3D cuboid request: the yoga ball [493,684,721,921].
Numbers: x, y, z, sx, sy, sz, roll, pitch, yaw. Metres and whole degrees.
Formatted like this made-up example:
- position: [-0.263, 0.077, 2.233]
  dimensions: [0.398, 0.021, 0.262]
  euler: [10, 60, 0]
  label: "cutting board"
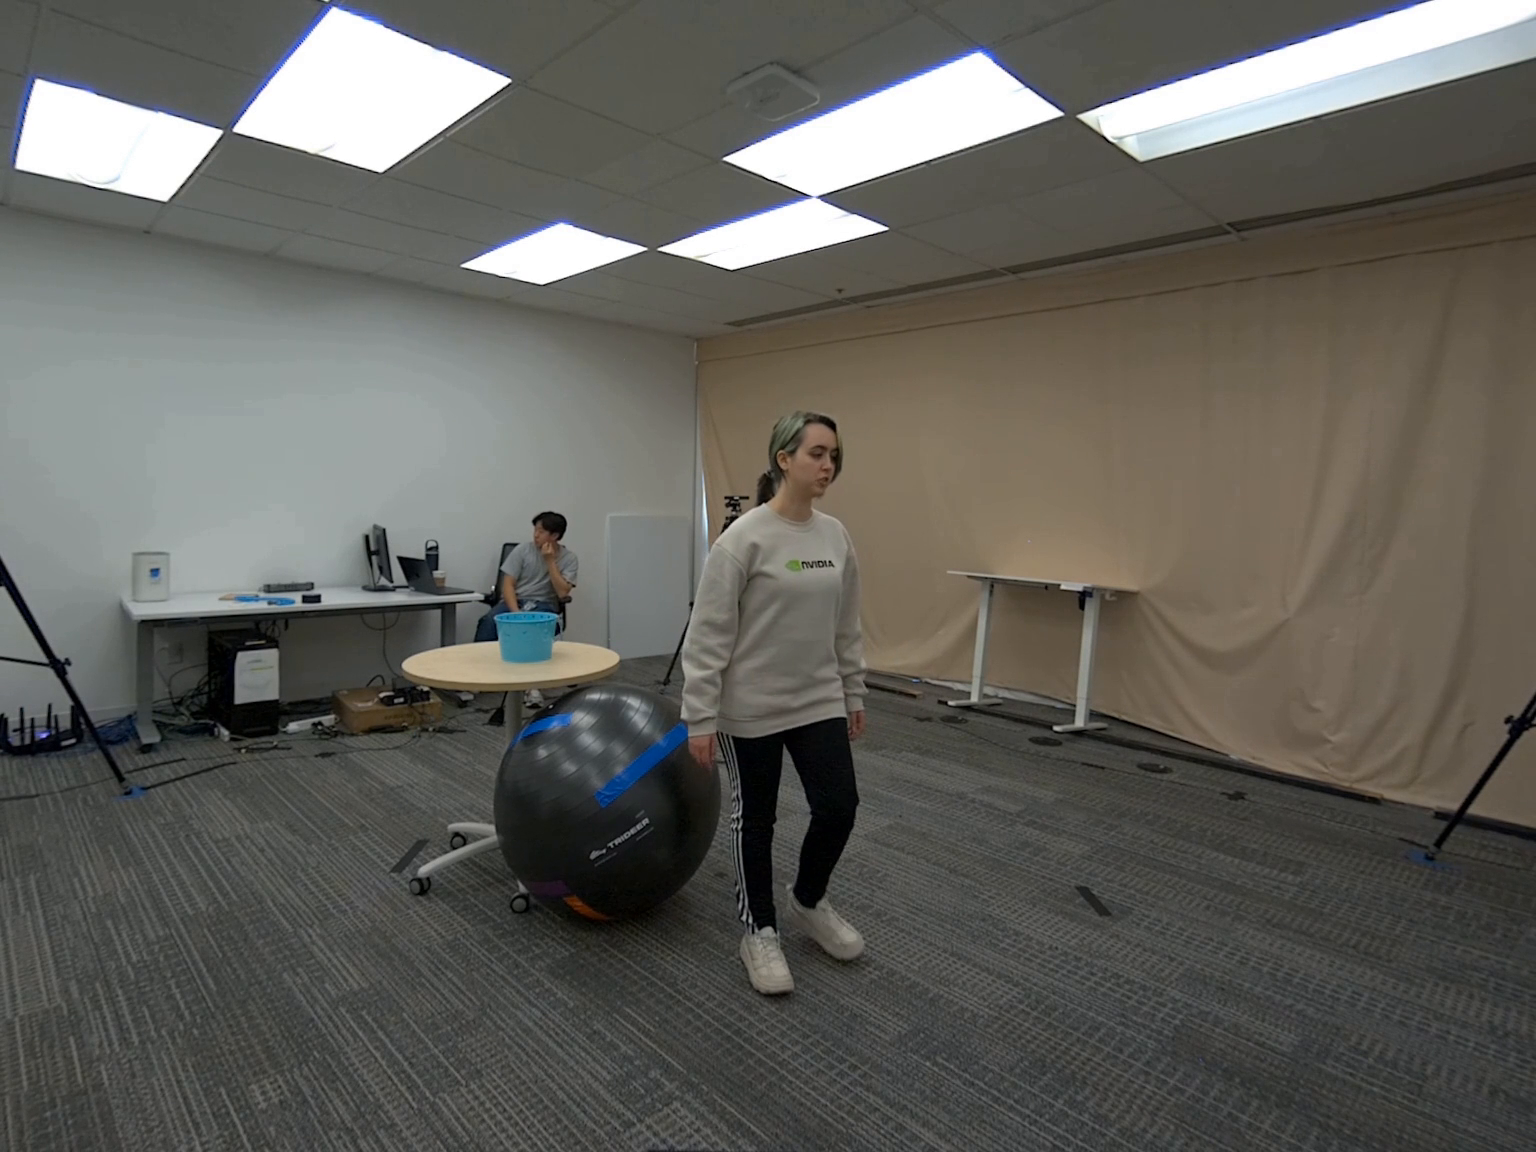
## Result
- position: [-0.546, 0.755, 2.825]
  dimensions: [0.757, 0.756, 0.761]
  euler: [1, 4, -1]
  label: "yoga ball"
